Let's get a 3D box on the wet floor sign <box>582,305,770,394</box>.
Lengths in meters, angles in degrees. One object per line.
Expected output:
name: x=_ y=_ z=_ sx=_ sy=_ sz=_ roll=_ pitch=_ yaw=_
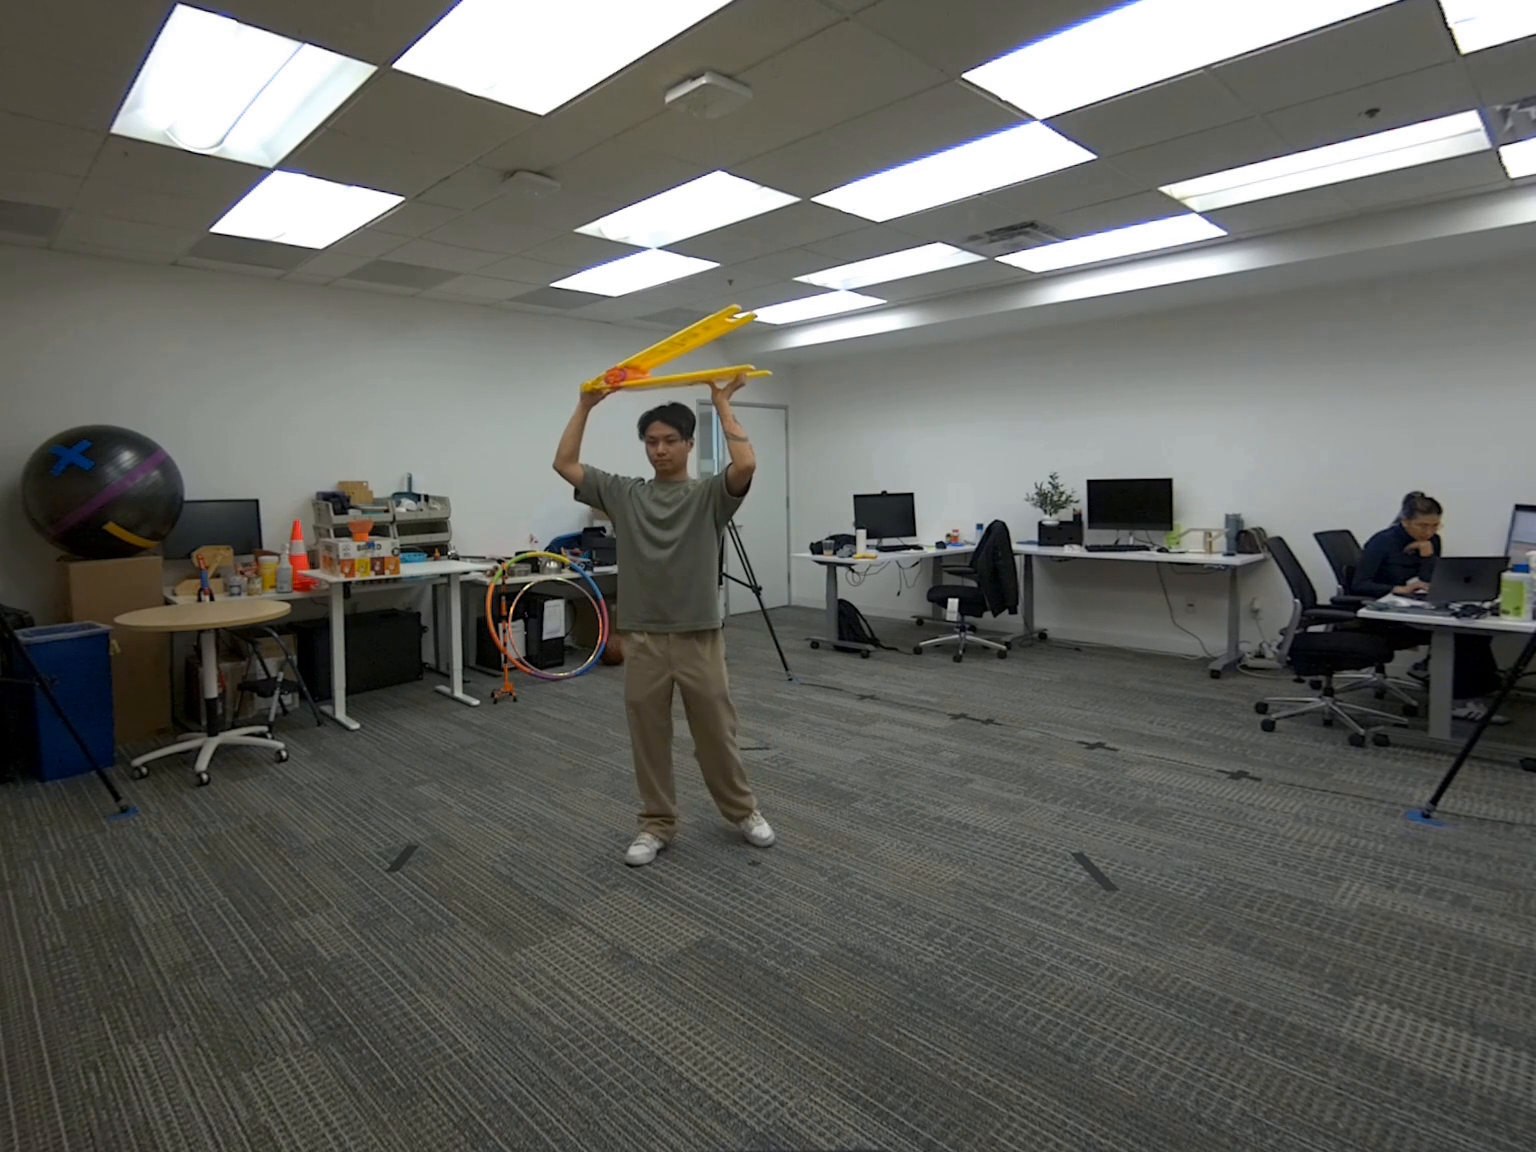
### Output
wet floor sign: x=-0.340 y=-0.752 z=3.068 sx=0.655 sy=0.289 sz=0.279 roll=-11 pitch=4 yaw=19
